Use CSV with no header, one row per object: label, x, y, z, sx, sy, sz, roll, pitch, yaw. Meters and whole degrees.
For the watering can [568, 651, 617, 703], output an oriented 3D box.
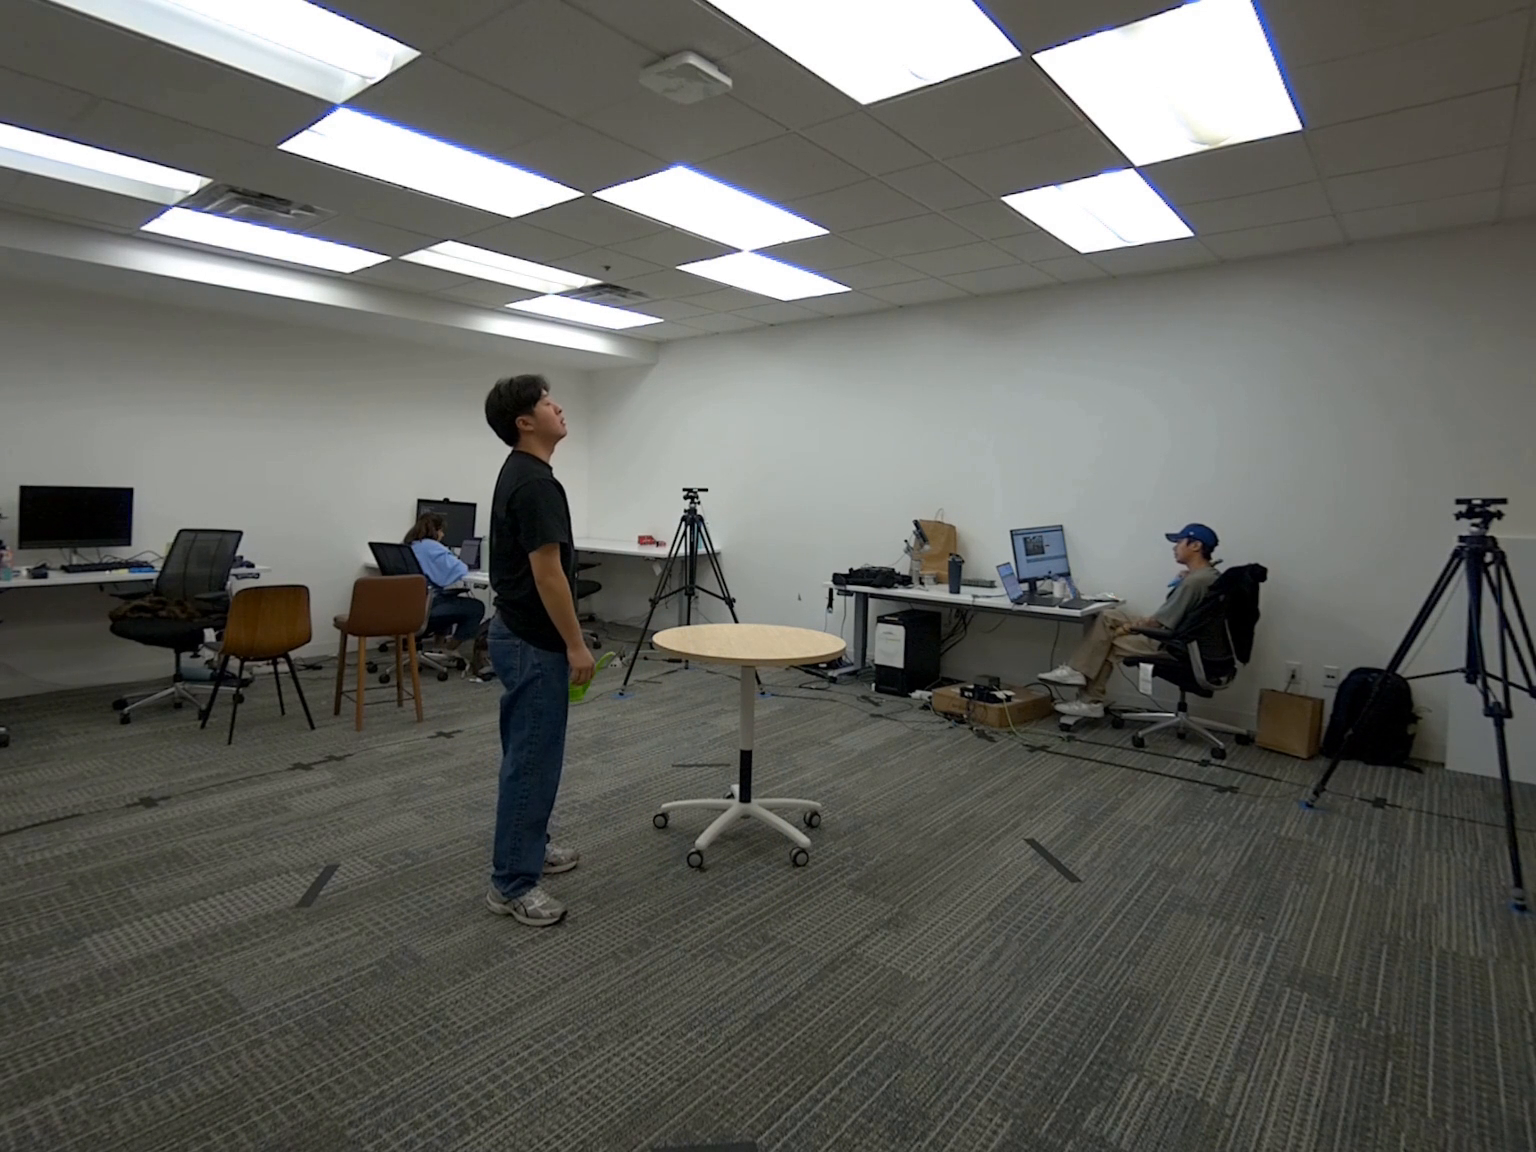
watering can,-0.711,0.365,3.146,0.284,0.175,0.097,1,11,19
